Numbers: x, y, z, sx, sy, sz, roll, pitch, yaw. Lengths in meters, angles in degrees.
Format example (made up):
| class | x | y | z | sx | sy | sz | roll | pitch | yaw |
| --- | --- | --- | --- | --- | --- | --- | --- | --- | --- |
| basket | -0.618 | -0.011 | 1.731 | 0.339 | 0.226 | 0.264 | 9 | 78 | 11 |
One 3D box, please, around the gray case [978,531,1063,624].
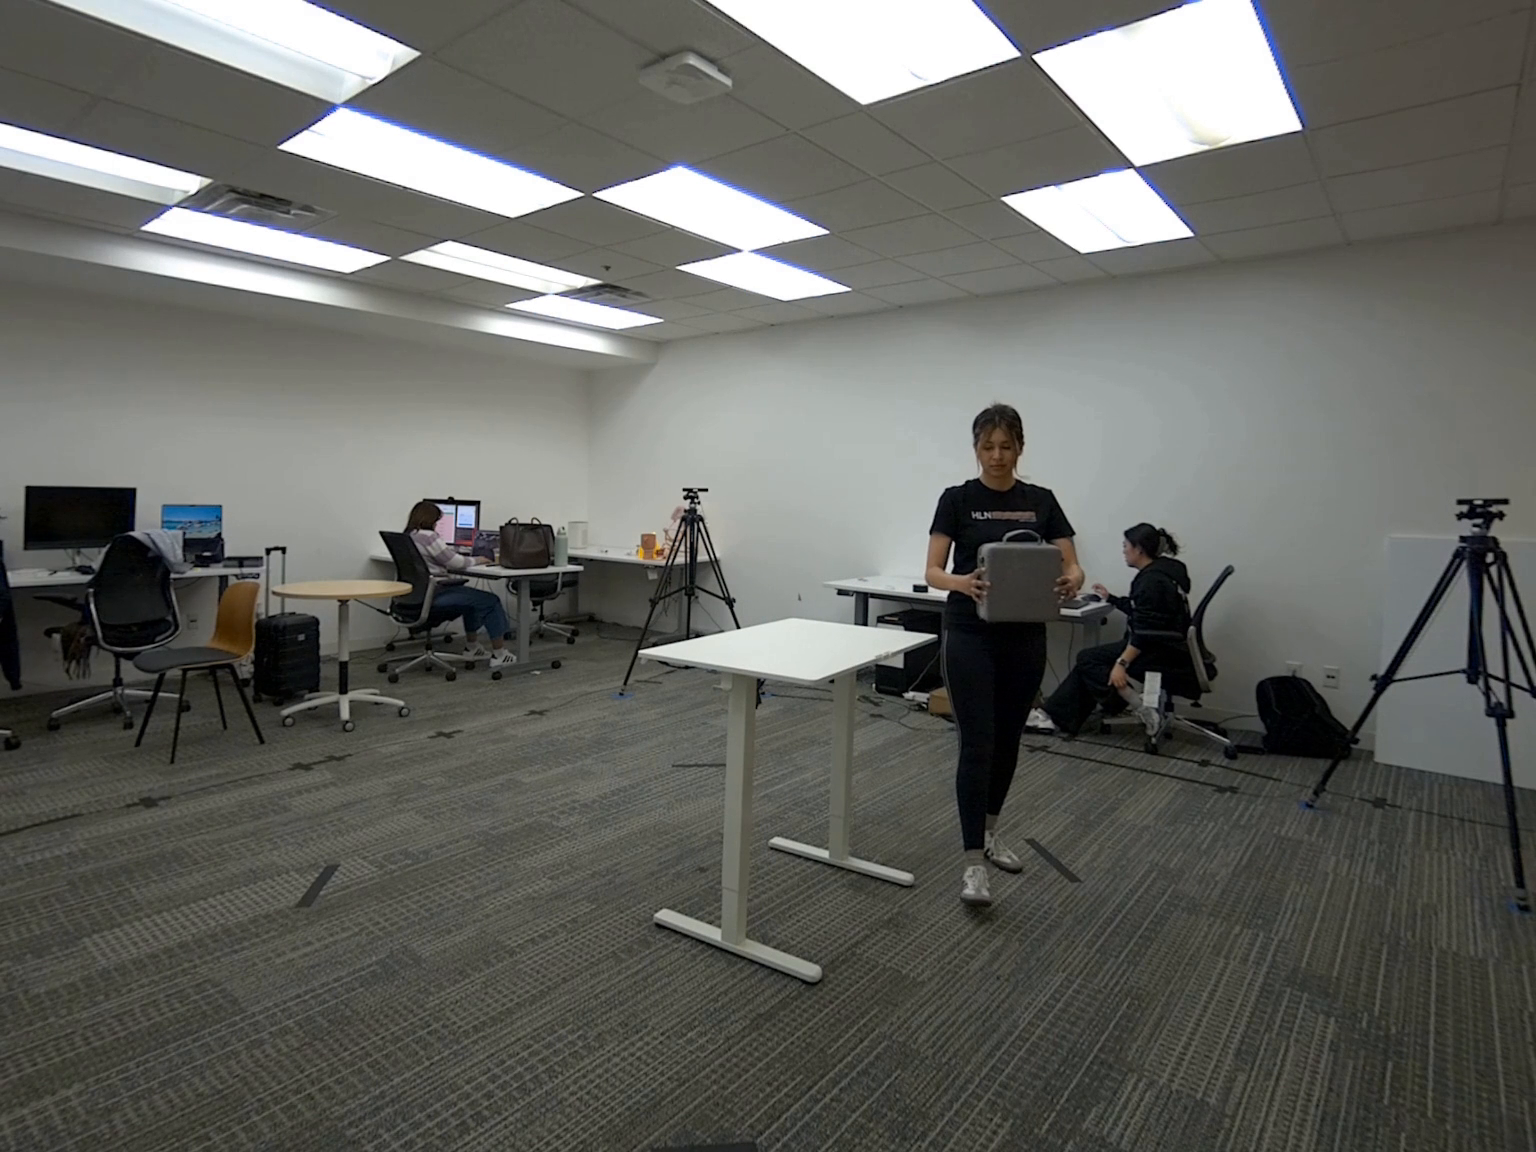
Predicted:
| class | x | y | z | sx | sy | sz | roll | pitch | yaw |
| --- | --- | --- | --- | --- | --- | --- | --- | --- | --- |
| gray case | 0.824 | 0.015 | 2.773 | 0.257 | 0.259 | 0.105 | 0 | 5 | 0 |
